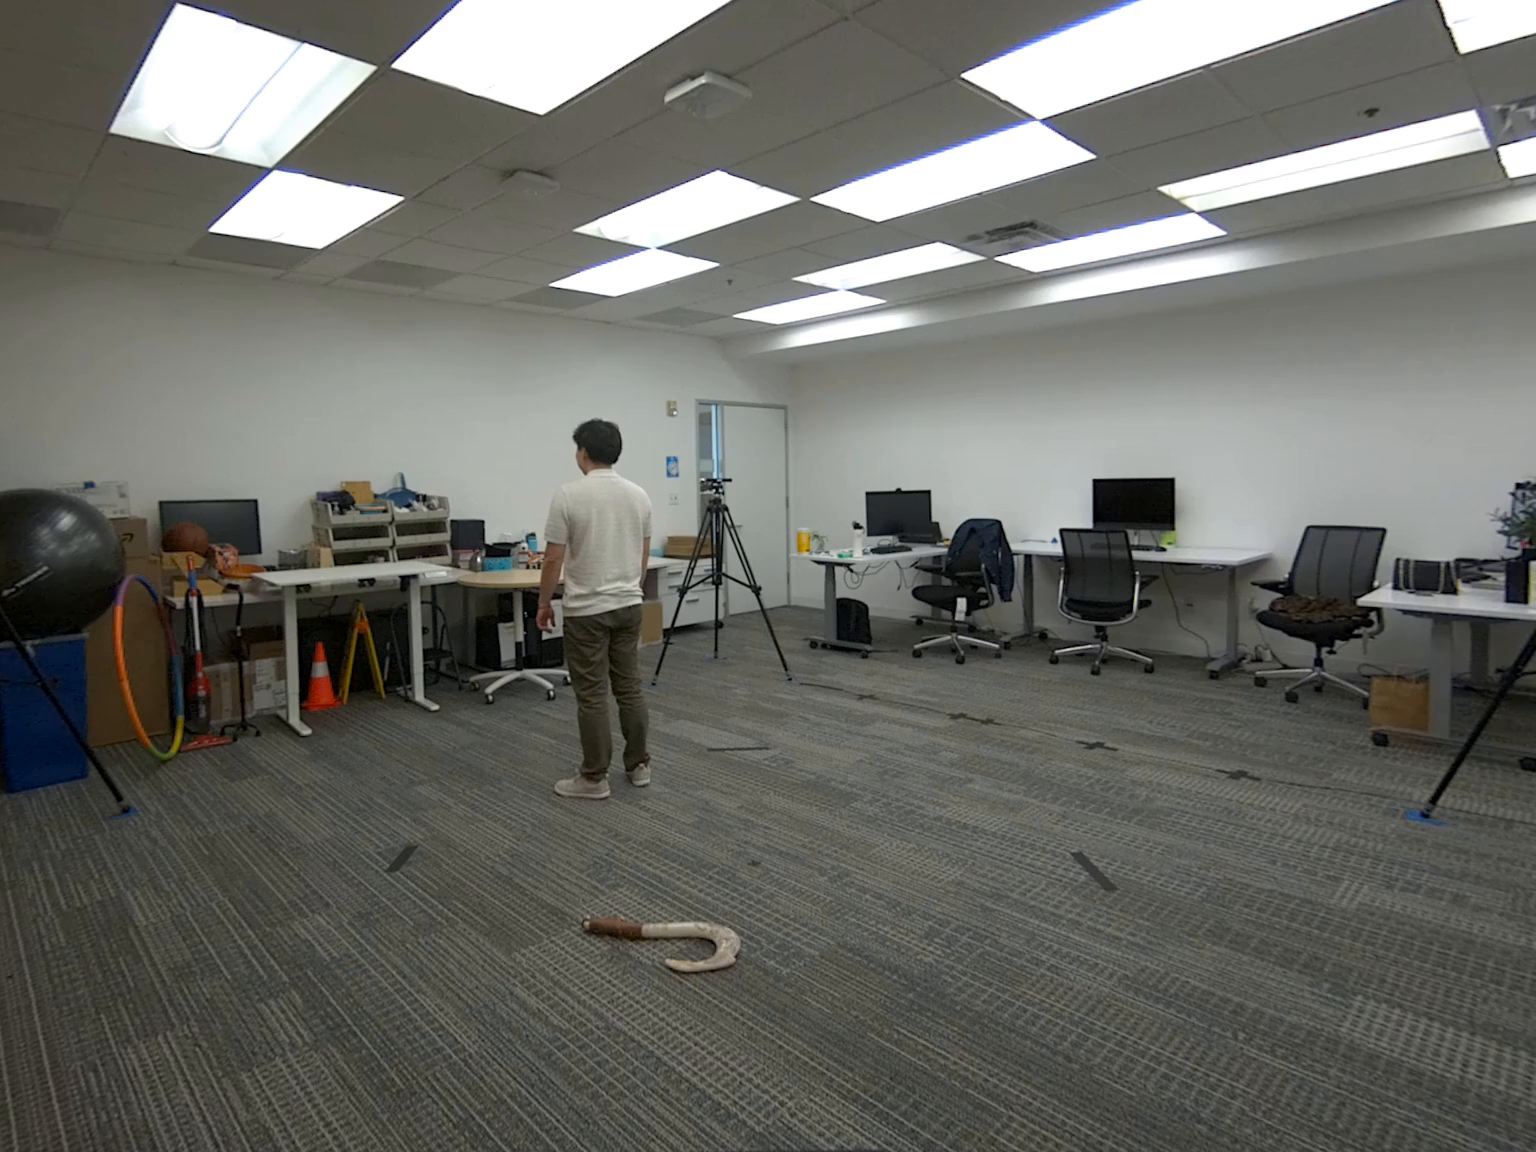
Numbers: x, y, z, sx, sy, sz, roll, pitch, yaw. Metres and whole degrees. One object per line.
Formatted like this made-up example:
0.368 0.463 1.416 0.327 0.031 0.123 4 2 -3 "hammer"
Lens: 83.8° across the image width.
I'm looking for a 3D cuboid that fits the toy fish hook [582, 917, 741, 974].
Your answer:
-0.336 1.091 2.553 0.513 0.048 0.223 0 6 13 "toy fish hook"
